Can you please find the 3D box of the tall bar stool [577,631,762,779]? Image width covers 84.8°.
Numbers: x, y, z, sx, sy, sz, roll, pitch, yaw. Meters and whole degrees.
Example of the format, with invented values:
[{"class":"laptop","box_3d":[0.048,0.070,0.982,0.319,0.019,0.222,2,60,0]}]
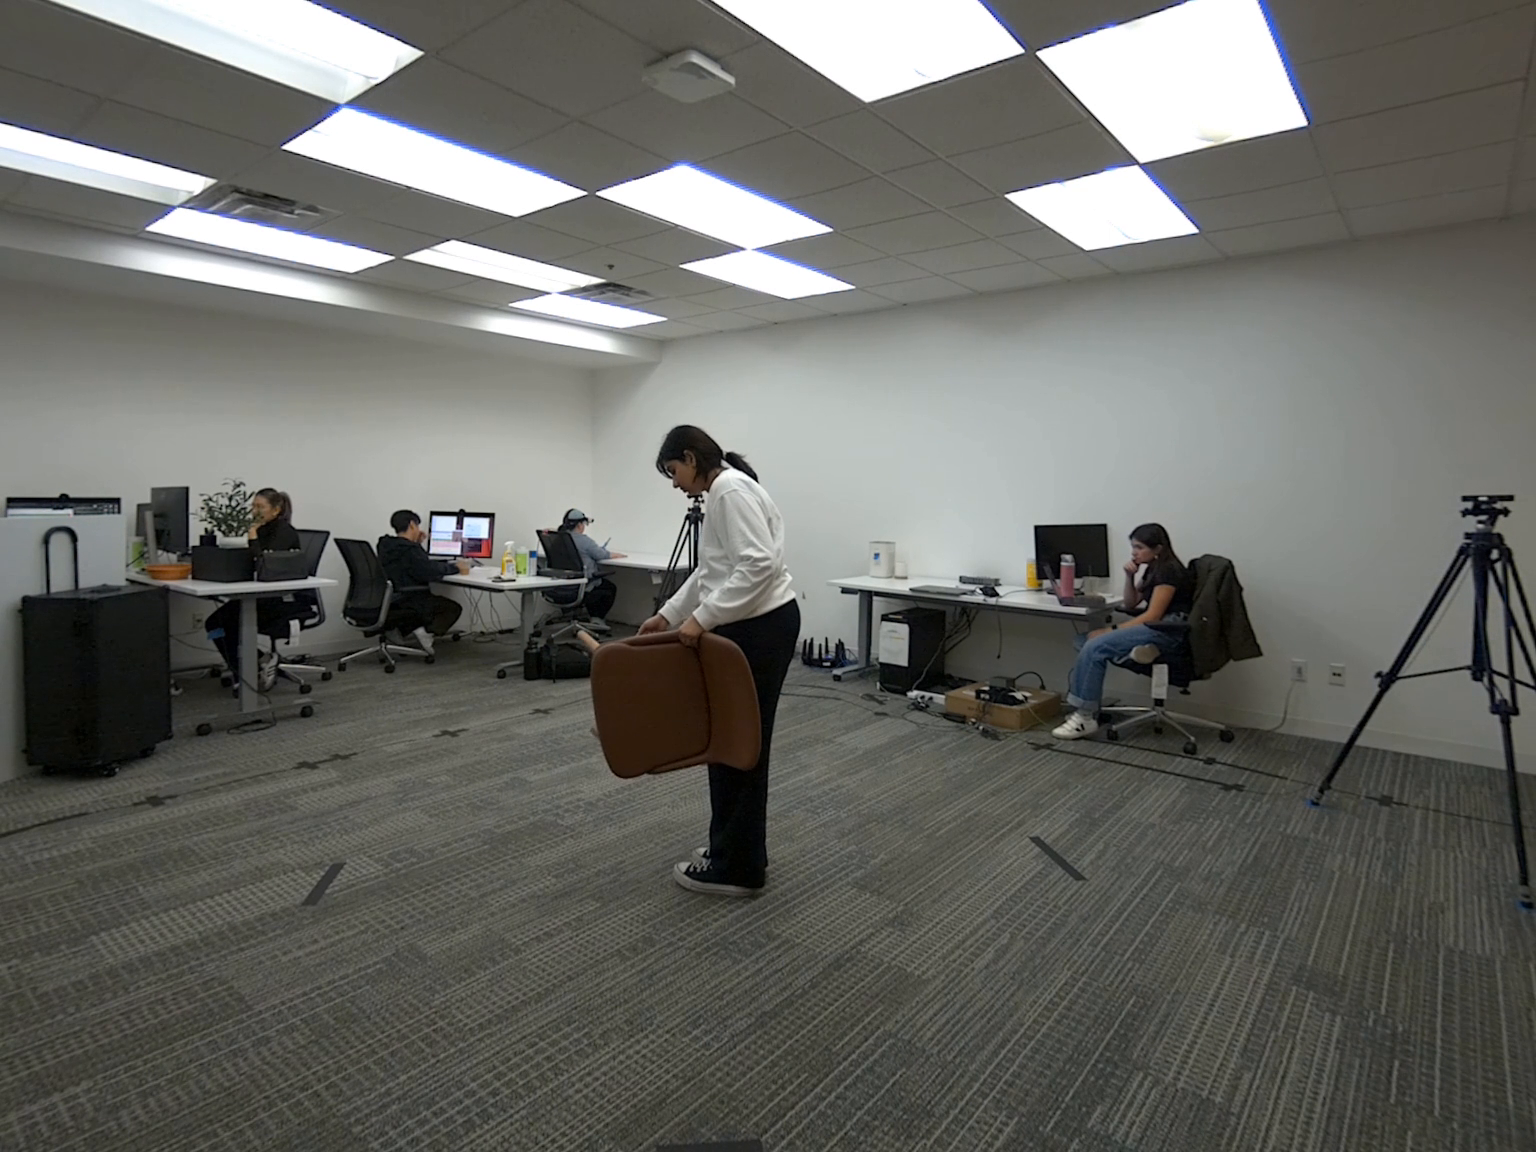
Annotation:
[{"class":"tall bar stool","box_3d":[-0.386,0.403,2.951,0.461,0.454,0.906,-9,6,-16]}]
